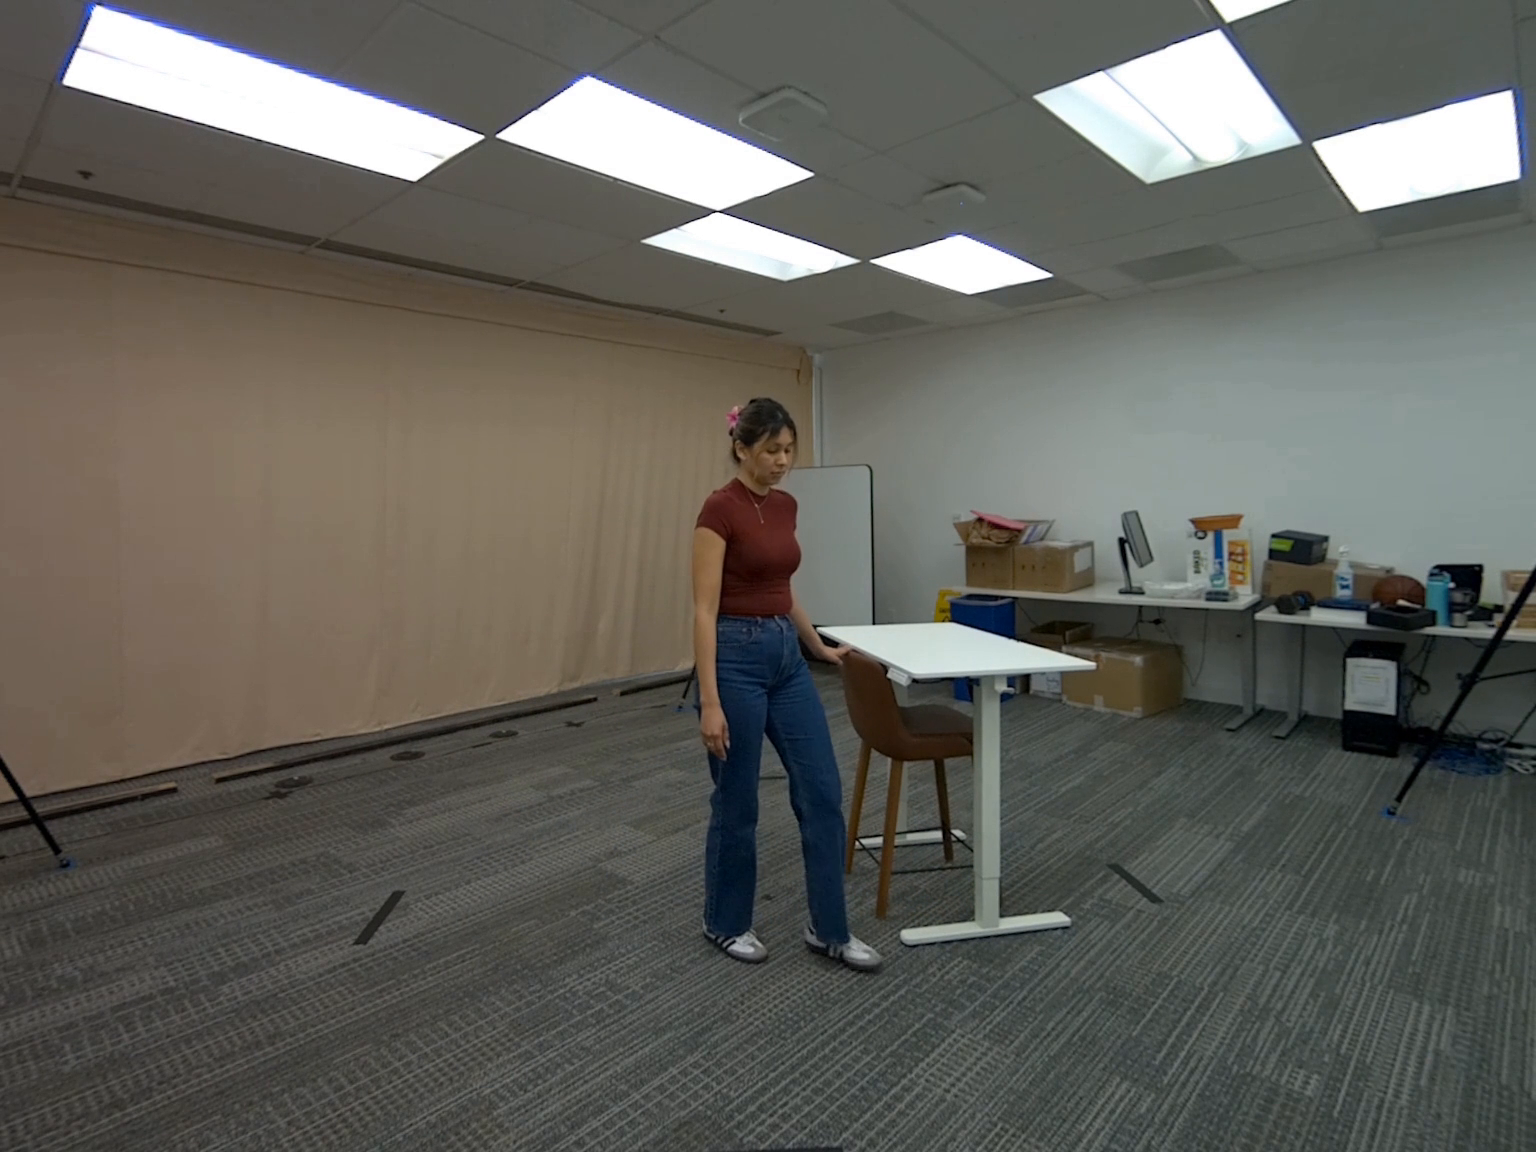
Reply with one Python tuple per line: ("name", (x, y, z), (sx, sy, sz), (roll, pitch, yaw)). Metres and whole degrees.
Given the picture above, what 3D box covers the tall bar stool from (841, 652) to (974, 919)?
("tall bar stool", (0.525, 0.698, 3.003), (0.463, 0.886, 0.463), (-3, 5, -11))
